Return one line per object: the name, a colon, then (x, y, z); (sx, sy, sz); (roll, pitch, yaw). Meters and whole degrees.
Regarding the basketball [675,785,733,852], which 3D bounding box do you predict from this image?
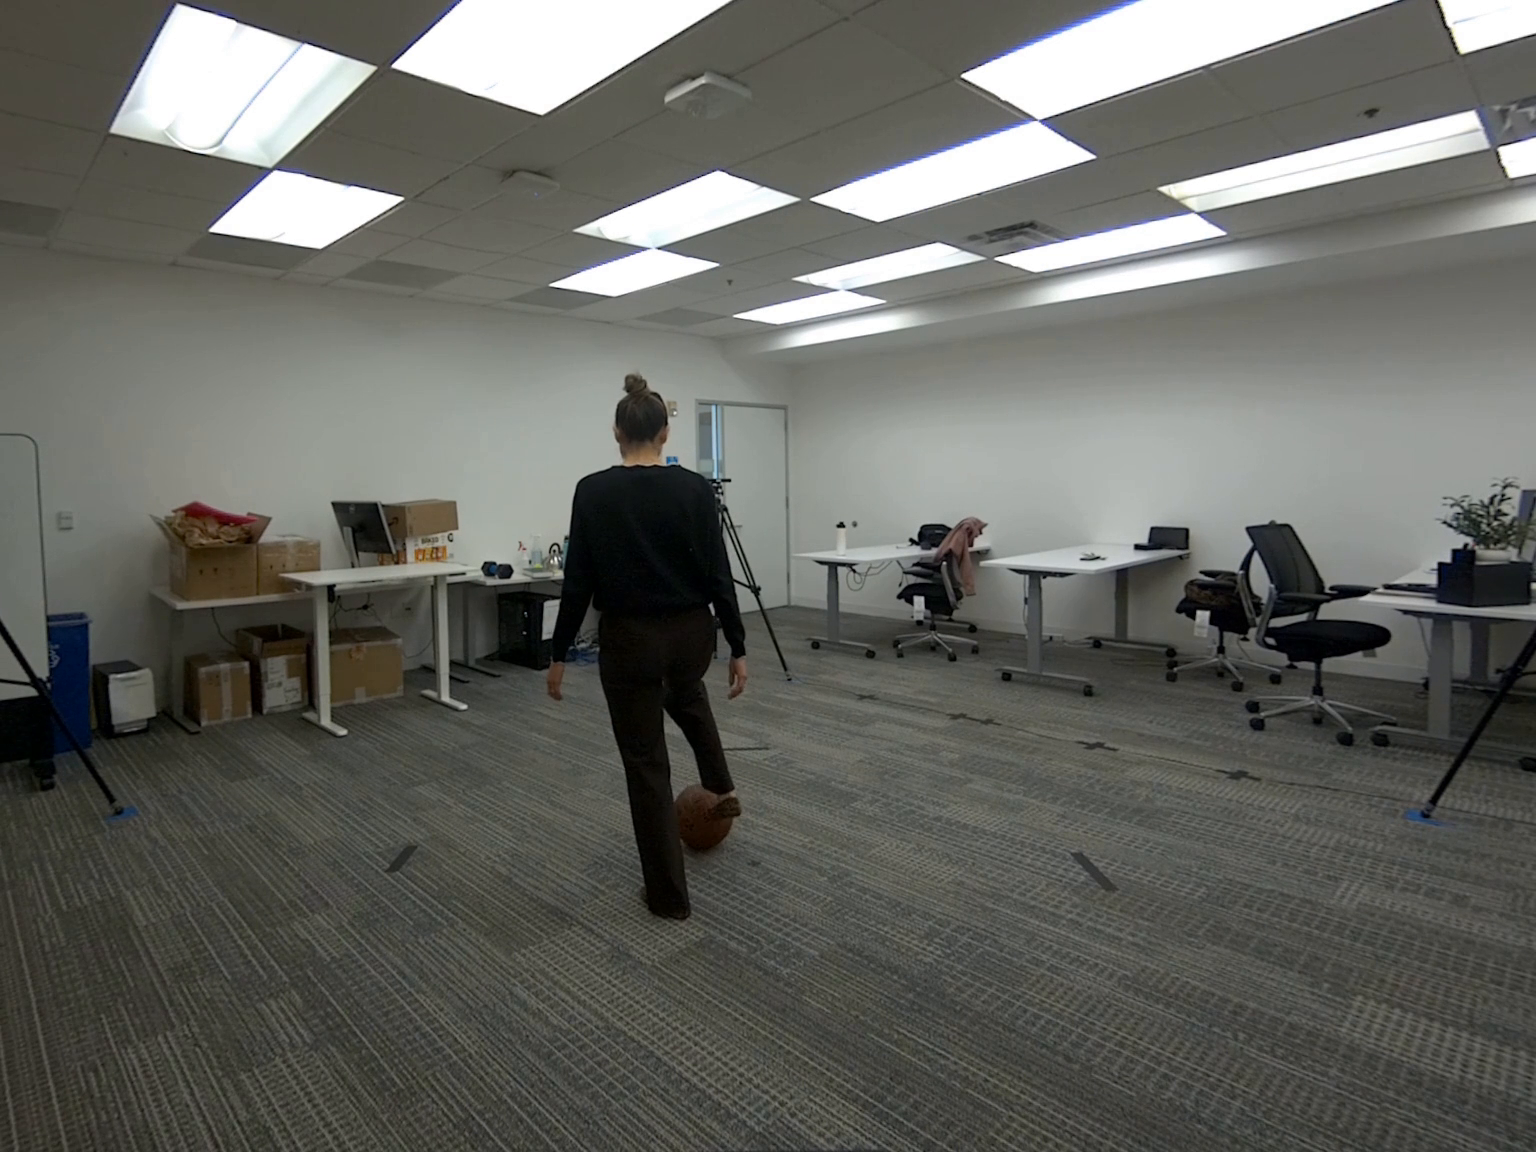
basketball: (-0.255, 0.908, 3.274); (0.236, 0.235, 0.237); (-1, 5, -2)
